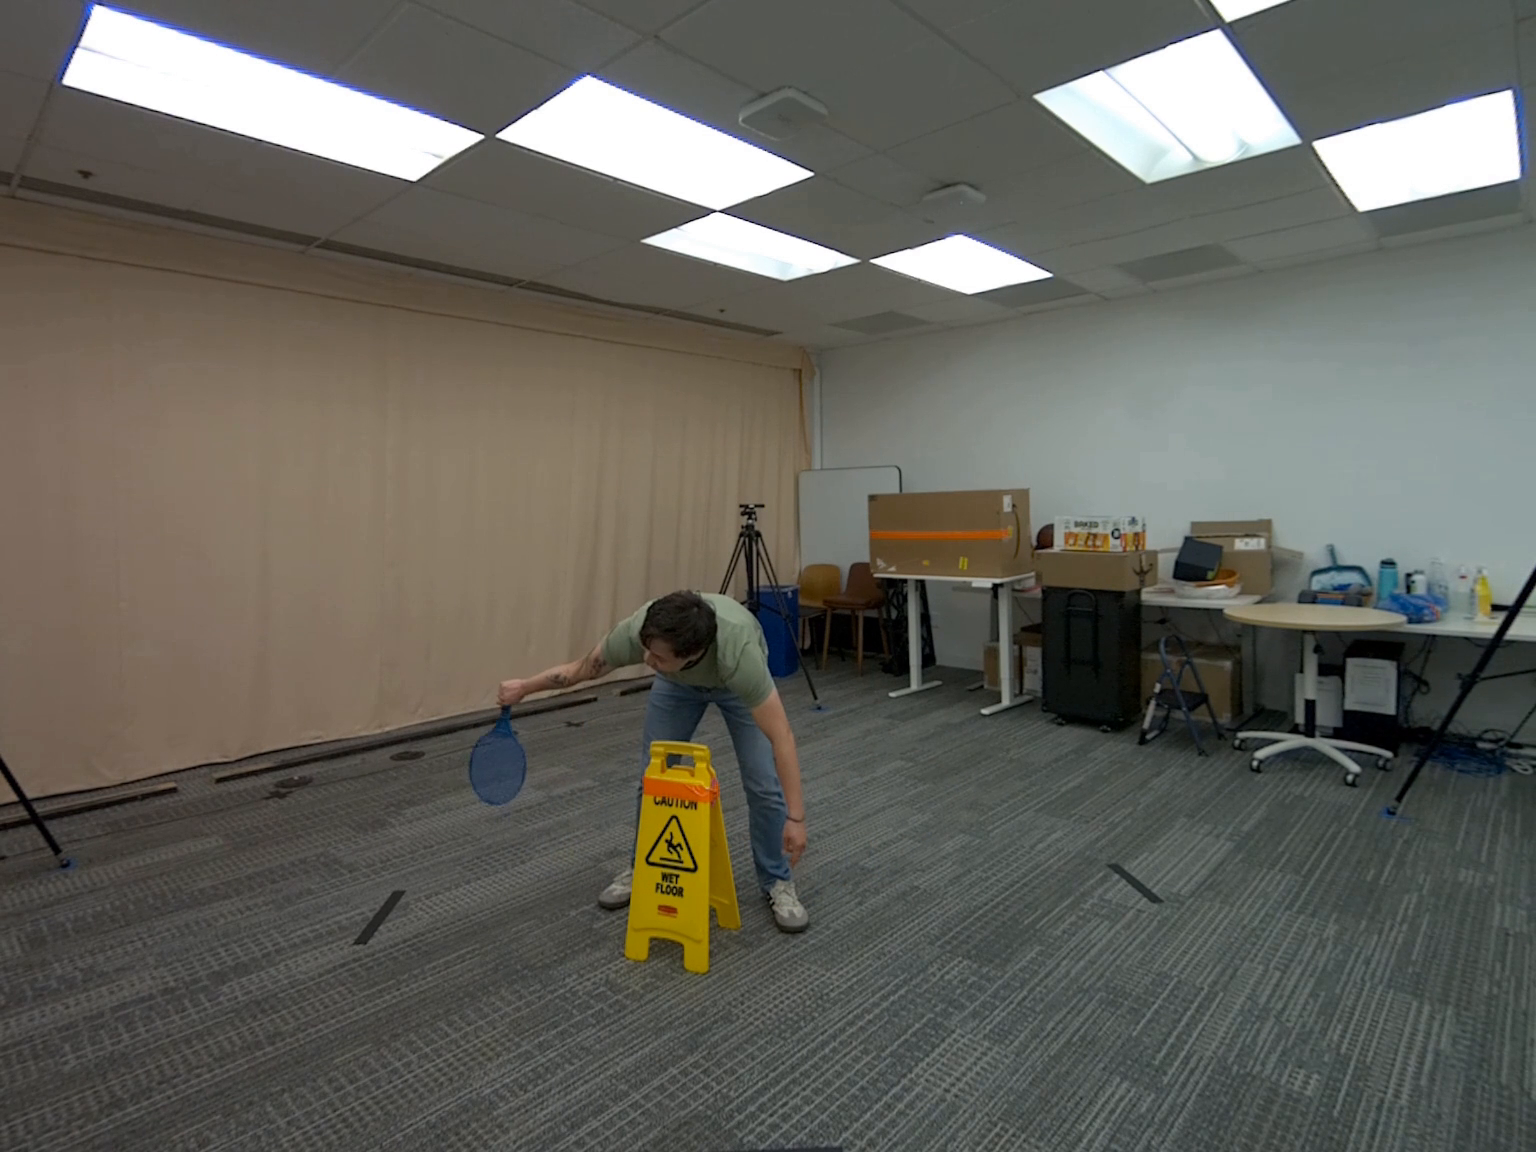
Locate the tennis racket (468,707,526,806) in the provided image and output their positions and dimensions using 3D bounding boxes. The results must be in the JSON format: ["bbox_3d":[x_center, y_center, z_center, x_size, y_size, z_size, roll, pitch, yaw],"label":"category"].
[{"bbox_3d":[-0.927,0.623,2.946,0.216,0.432,0.031,7,4,8],"label":"tennis racket"}]
